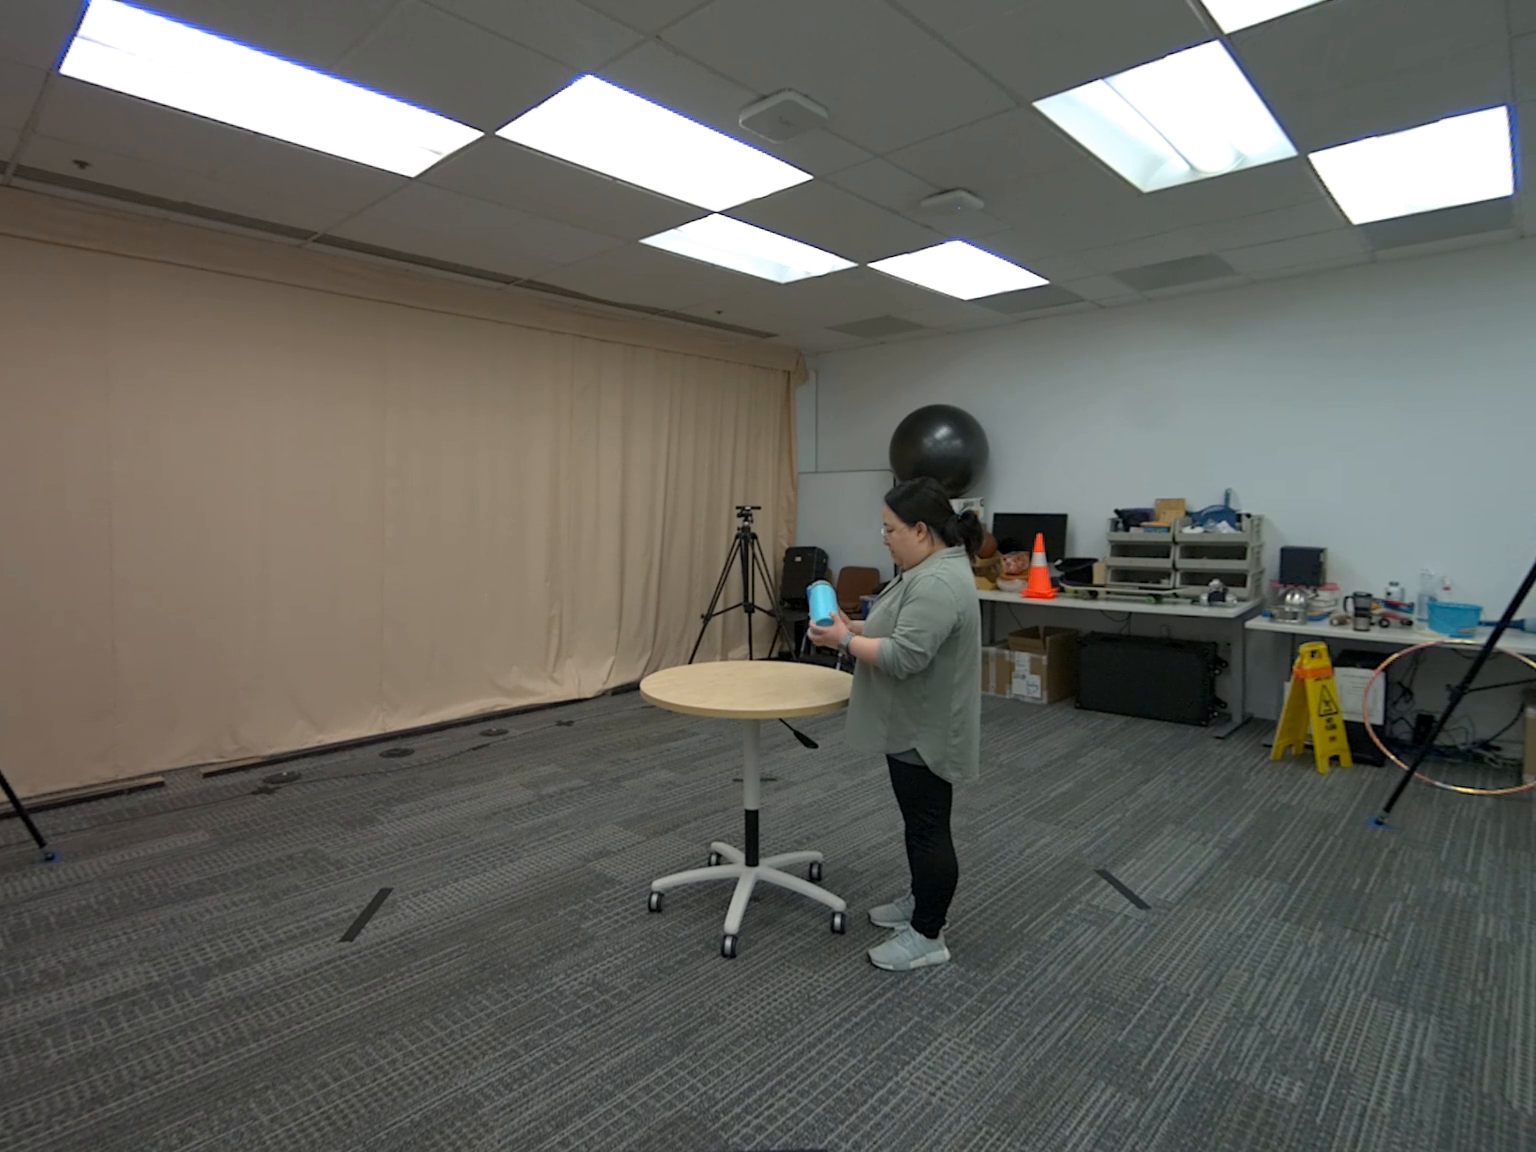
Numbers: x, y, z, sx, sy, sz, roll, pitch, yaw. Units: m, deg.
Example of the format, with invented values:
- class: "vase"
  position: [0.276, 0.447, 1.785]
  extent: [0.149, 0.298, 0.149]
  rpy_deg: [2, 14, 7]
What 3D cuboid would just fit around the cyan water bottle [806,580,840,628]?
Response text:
- class: "cyan water bottle"
  position: [0.194, 0.109, 2.682]
  extent: [0.092, 0.091, 0.288]
  rpy_deg: [-1, 28, -4]
